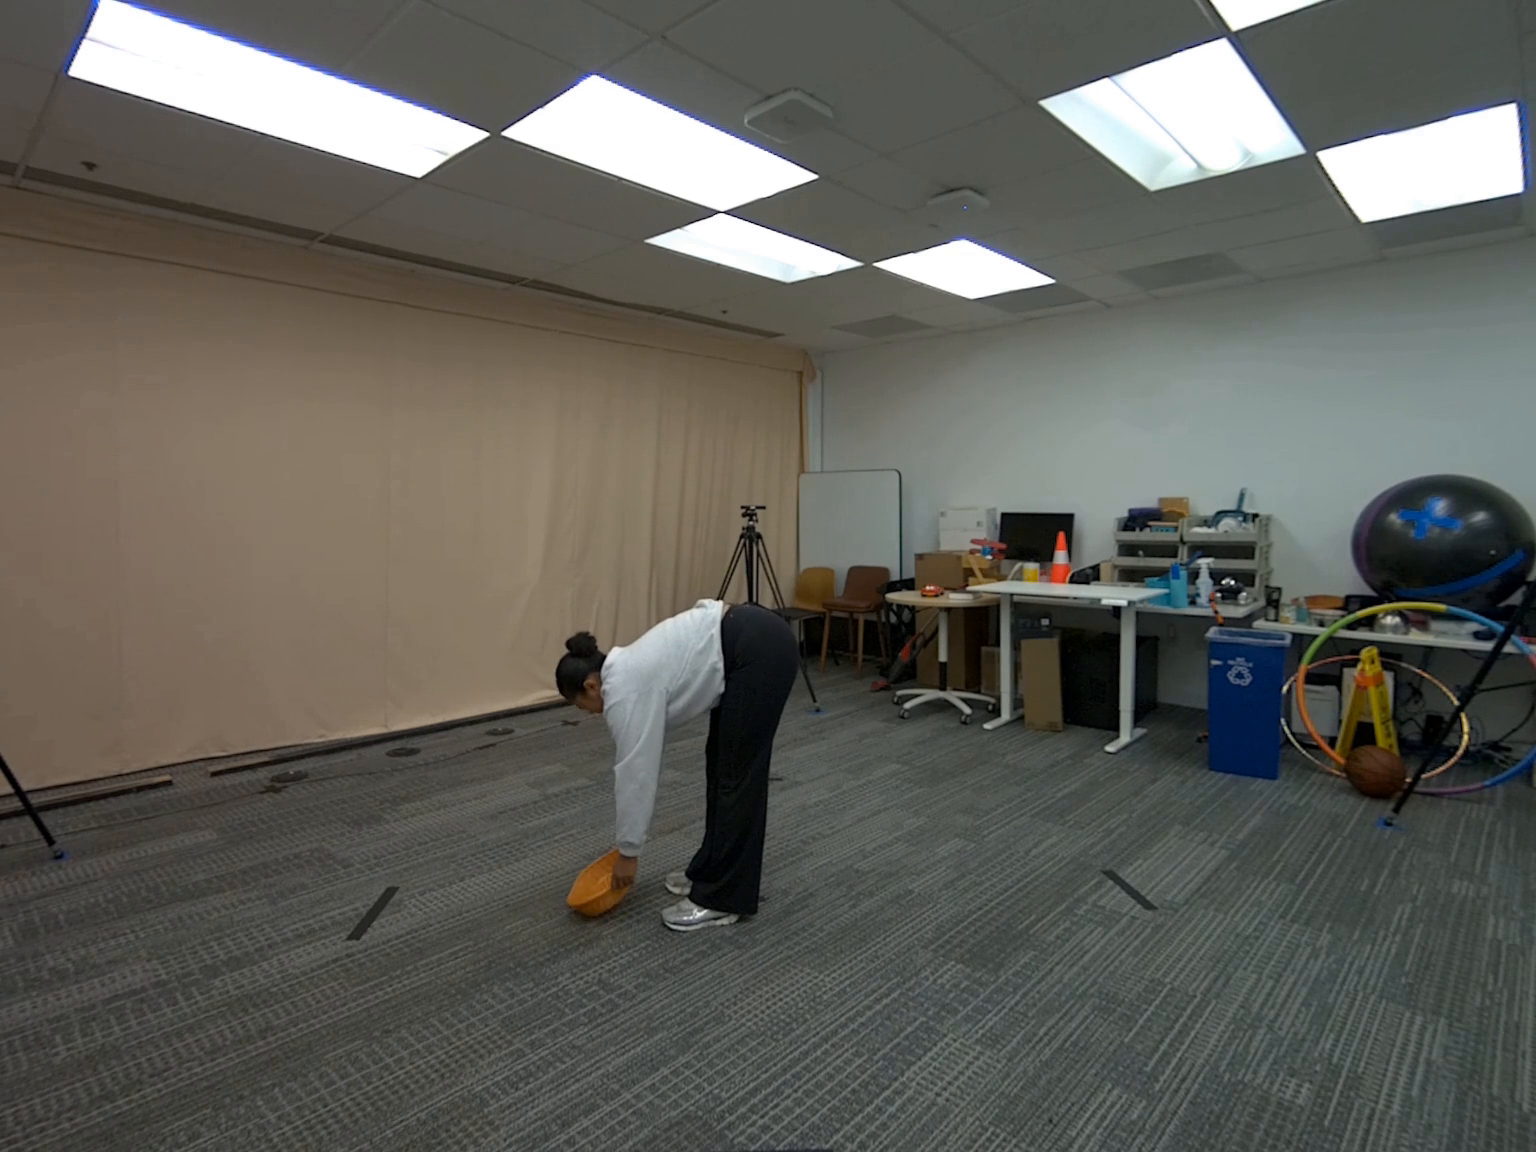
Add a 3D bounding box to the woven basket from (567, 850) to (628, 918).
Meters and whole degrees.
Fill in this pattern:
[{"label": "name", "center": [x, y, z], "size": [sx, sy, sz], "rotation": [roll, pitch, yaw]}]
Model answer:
[{"label": "woven basket", "center": [-0.553, 1.061, 2.934], "size": [0.253, 0.073, 0.351], "rotation": [-27, 6, 4]}]
